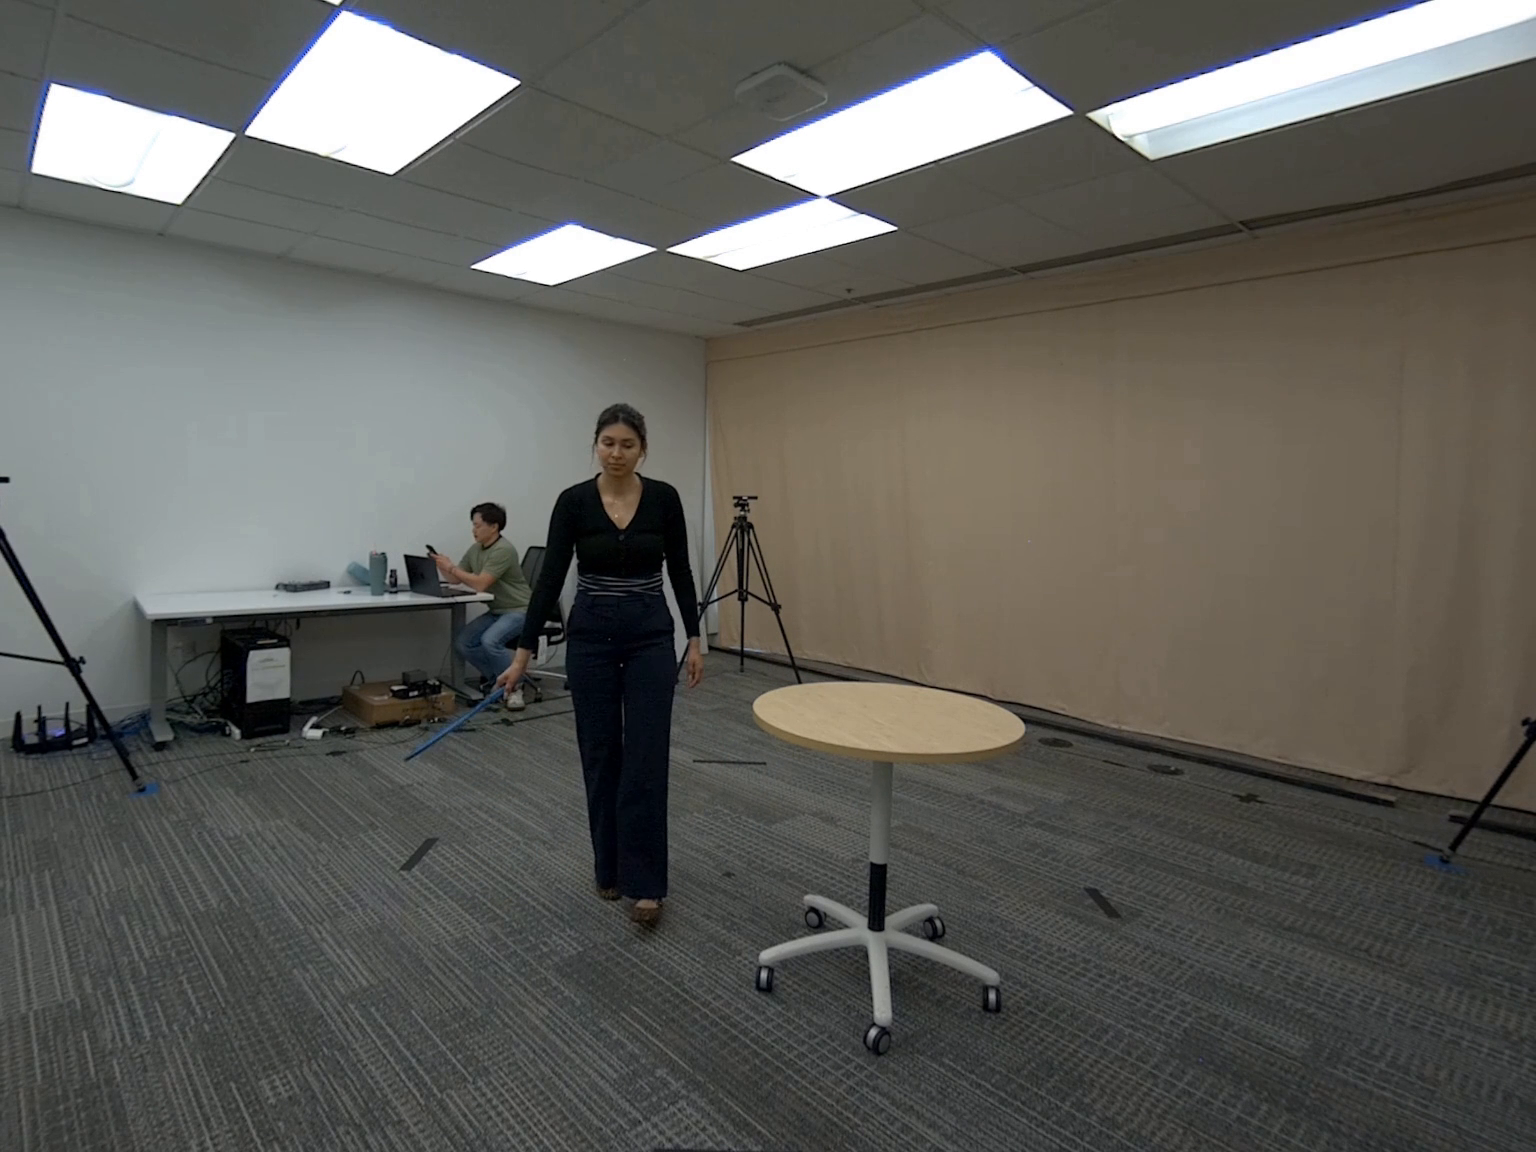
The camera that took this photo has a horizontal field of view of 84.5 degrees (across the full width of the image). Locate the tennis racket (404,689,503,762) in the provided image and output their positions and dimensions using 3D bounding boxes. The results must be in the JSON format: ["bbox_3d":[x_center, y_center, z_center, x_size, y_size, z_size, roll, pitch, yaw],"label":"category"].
[{"bbox_3d":[-0.949,0.444,2.653,0.430,0.031,0.216,-37,9,-36],"label":"tennis racket"}]
